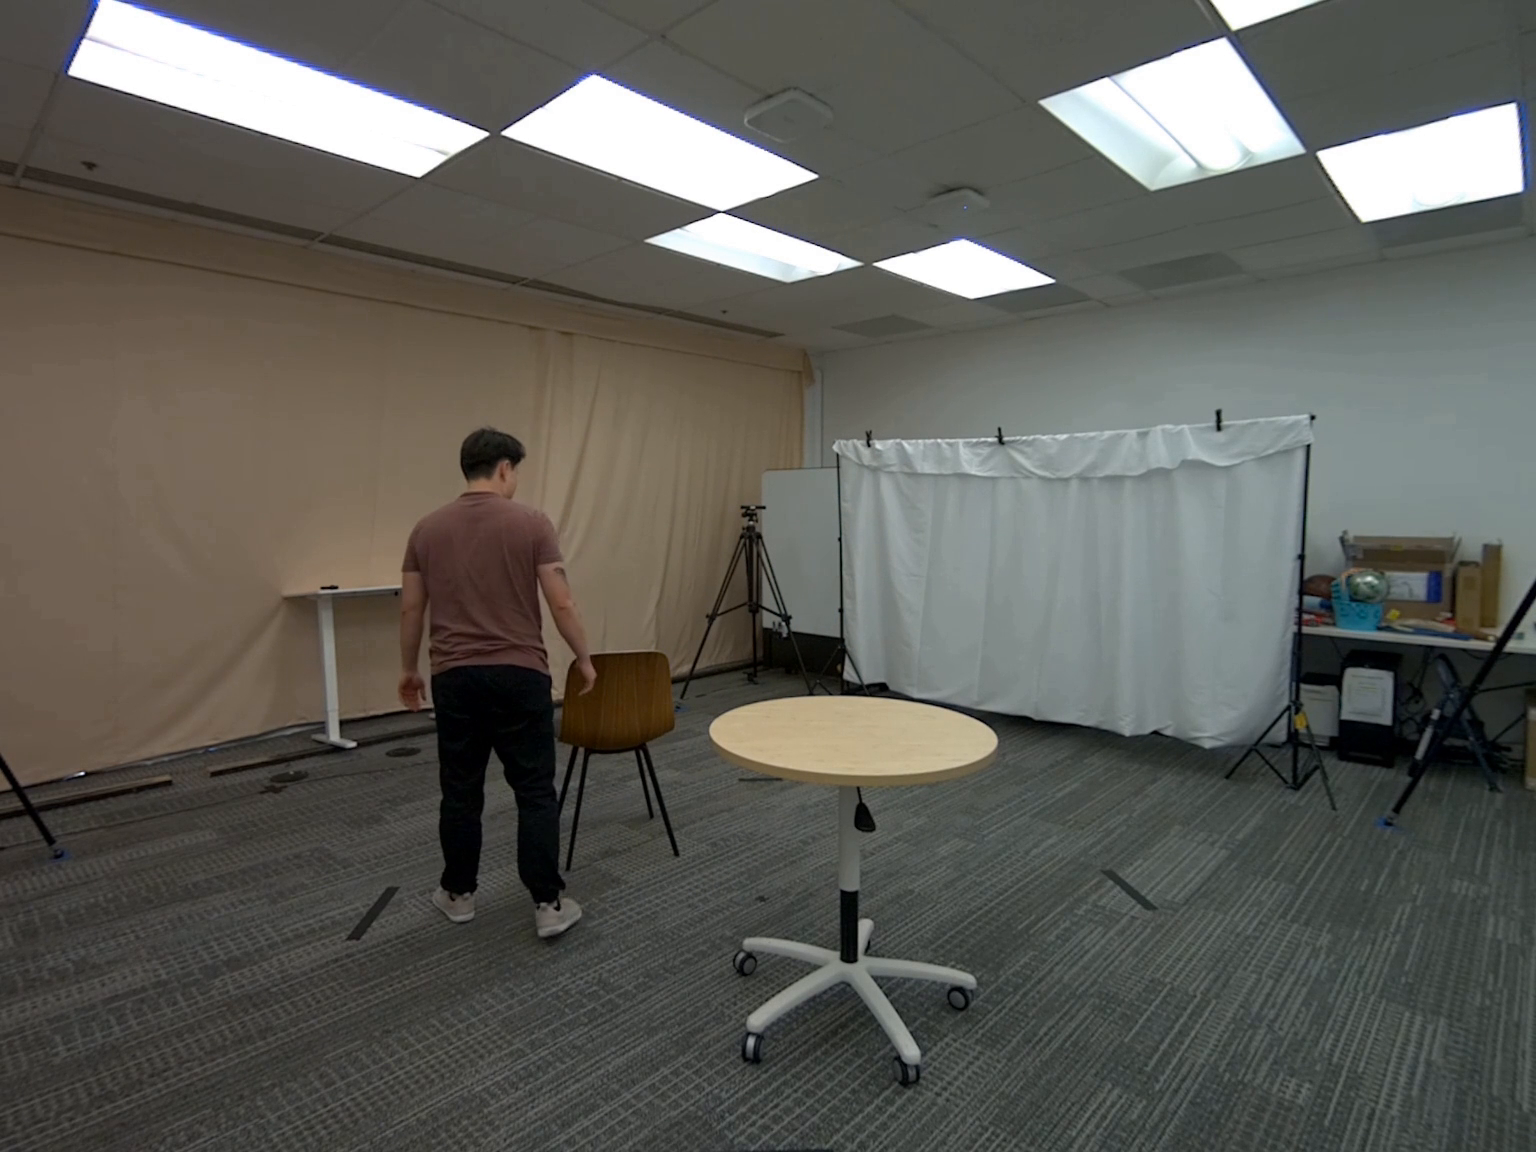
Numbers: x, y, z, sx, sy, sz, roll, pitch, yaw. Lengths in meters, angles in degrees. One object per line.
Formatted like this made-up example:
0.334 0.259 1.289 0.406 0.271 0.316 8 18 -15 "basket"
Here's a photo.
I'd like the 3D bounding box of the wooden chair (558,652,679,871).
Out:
-0.646 0.682 3.480 0.469 0.874 0.536 -1 7 -20 "wooden chair"
